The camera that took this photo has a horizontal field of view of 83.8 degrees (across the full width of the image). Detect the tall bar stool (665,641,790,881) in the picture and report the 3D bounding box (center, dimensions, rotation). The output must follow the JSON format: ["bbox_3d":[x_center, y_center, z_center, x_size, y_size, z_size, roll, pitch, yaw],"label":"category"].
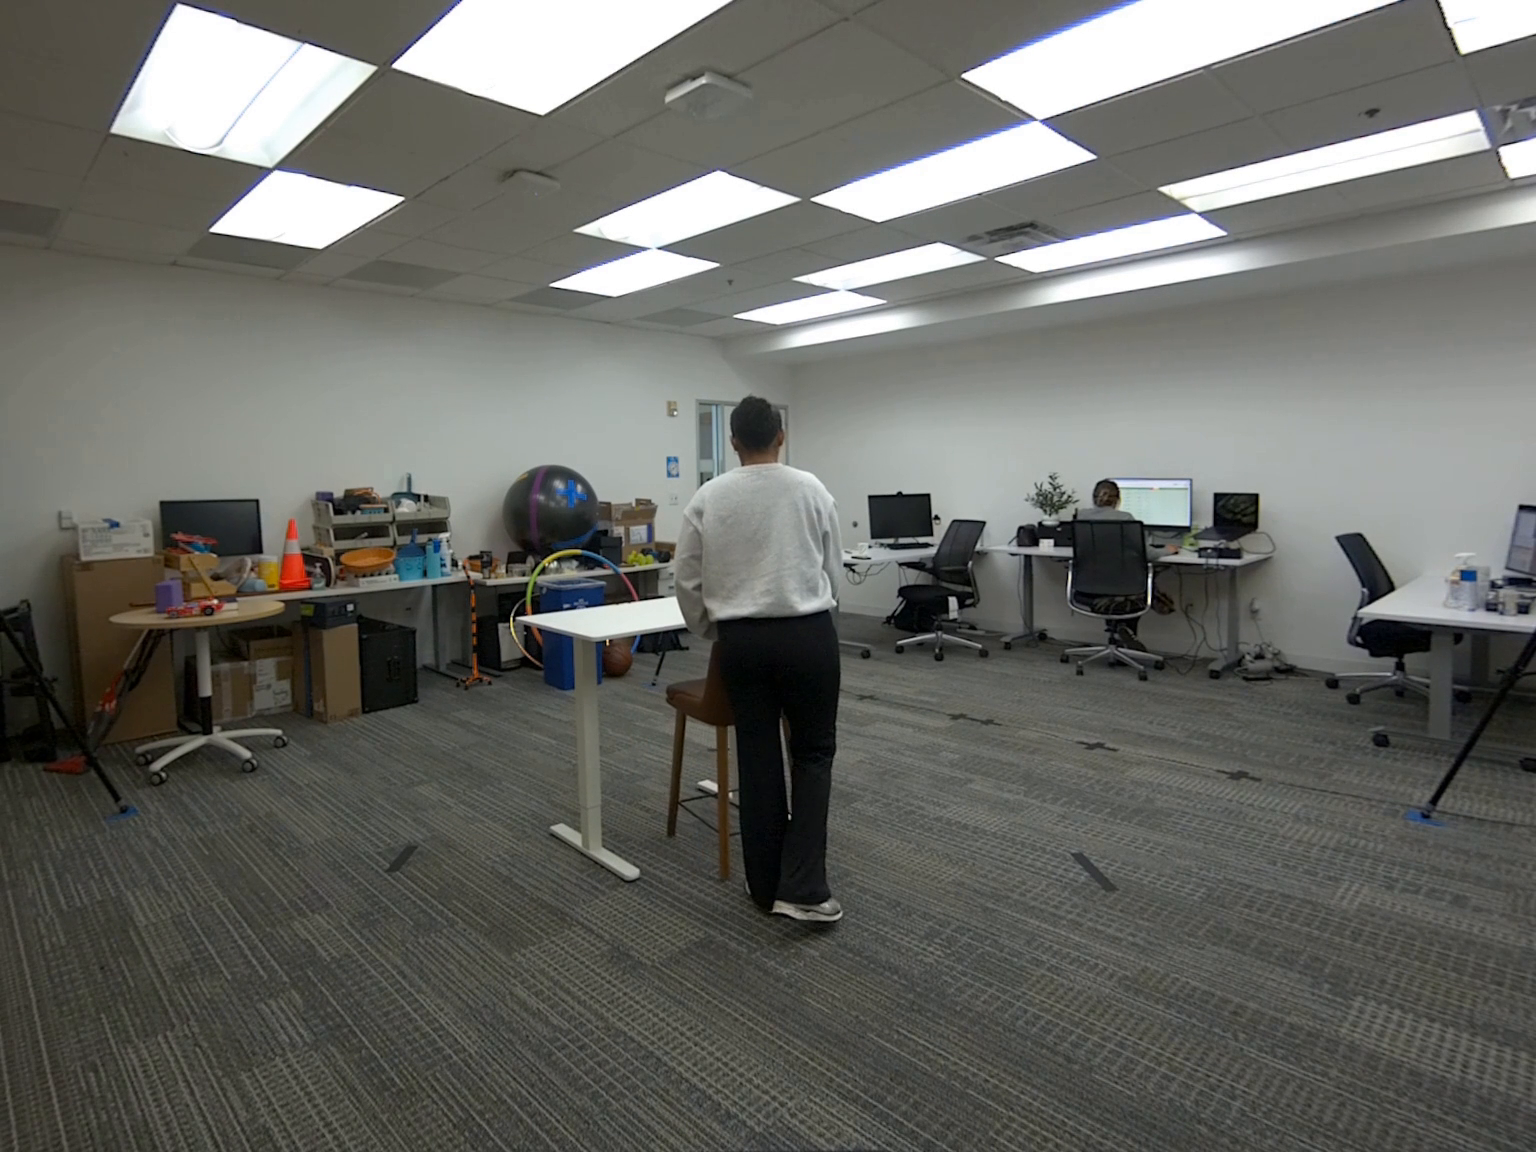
[{"bbox_3d":[-0.108,0.596,3.215,0.446,0.885,0.481,-3,7,-30],"label":"tall bar stool"}]
